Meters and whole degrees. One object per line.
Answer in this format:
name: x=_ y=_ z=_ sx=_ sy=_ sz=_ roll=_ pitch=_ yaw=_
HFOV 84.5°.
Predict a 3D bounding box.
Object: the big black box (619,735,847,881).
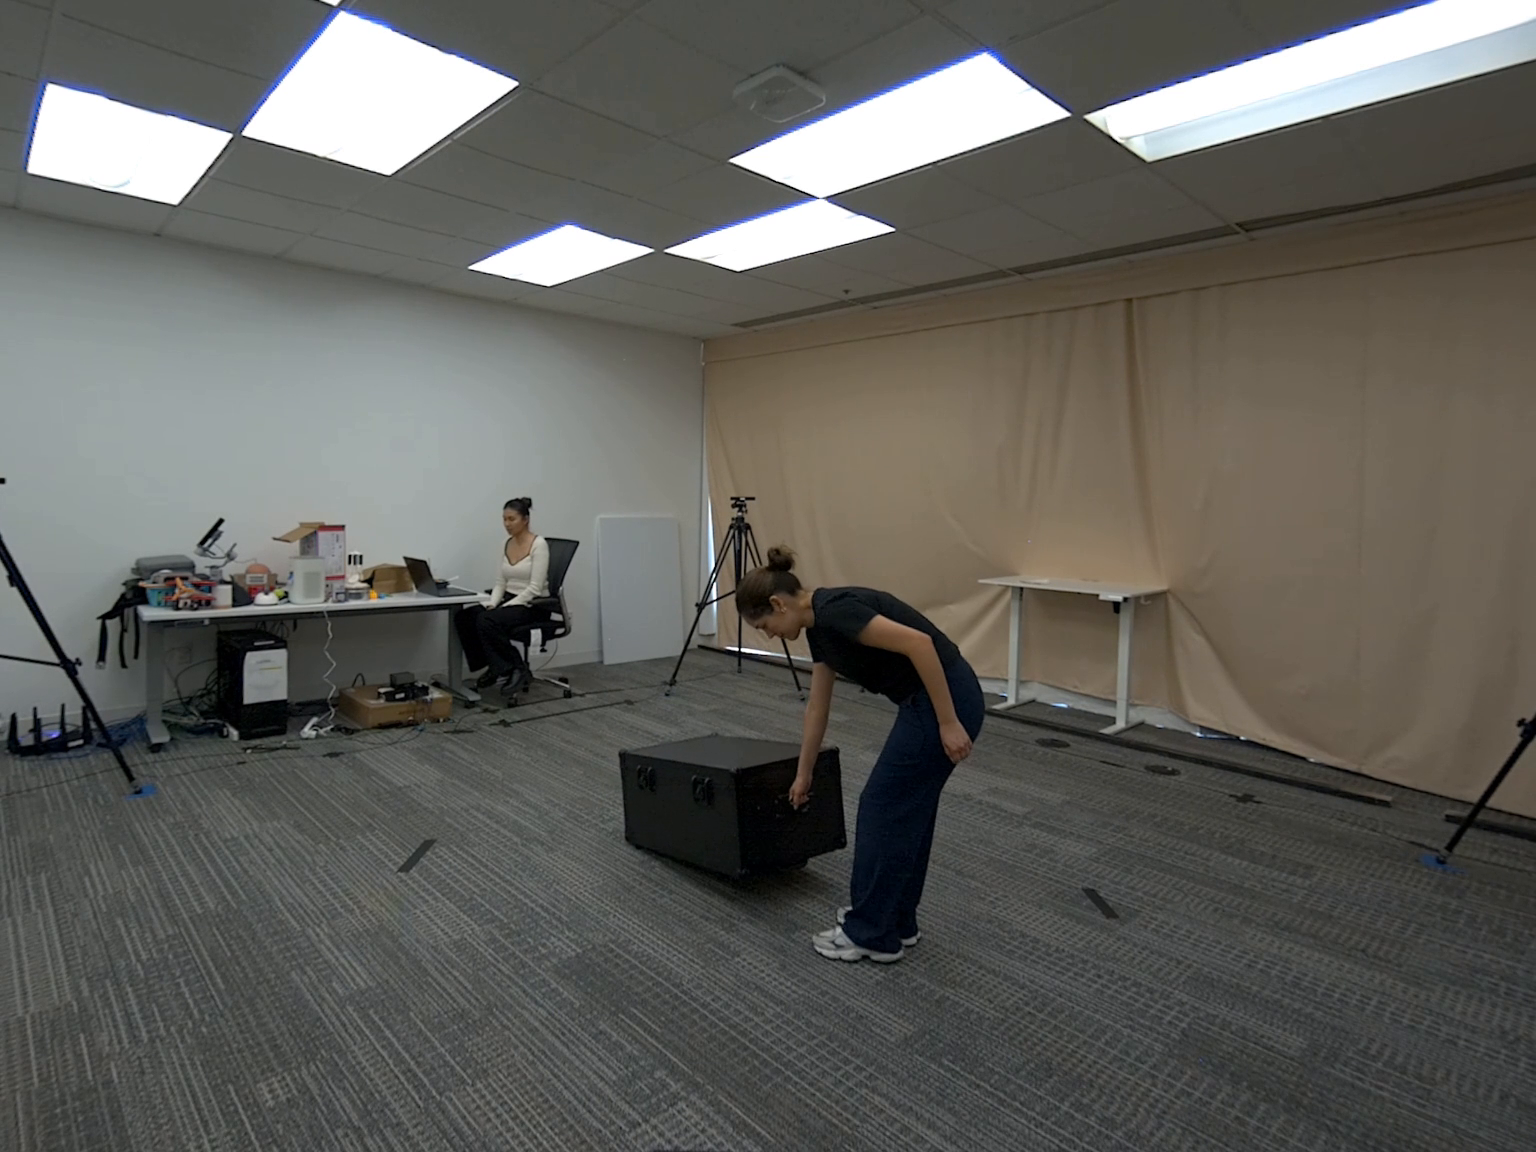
big black box: x=-0.147 y=0.853 z=3.186 sx=0.510 sy=0.397 sz=0.878 roll=-3 pitch=-3 yaw=-38
